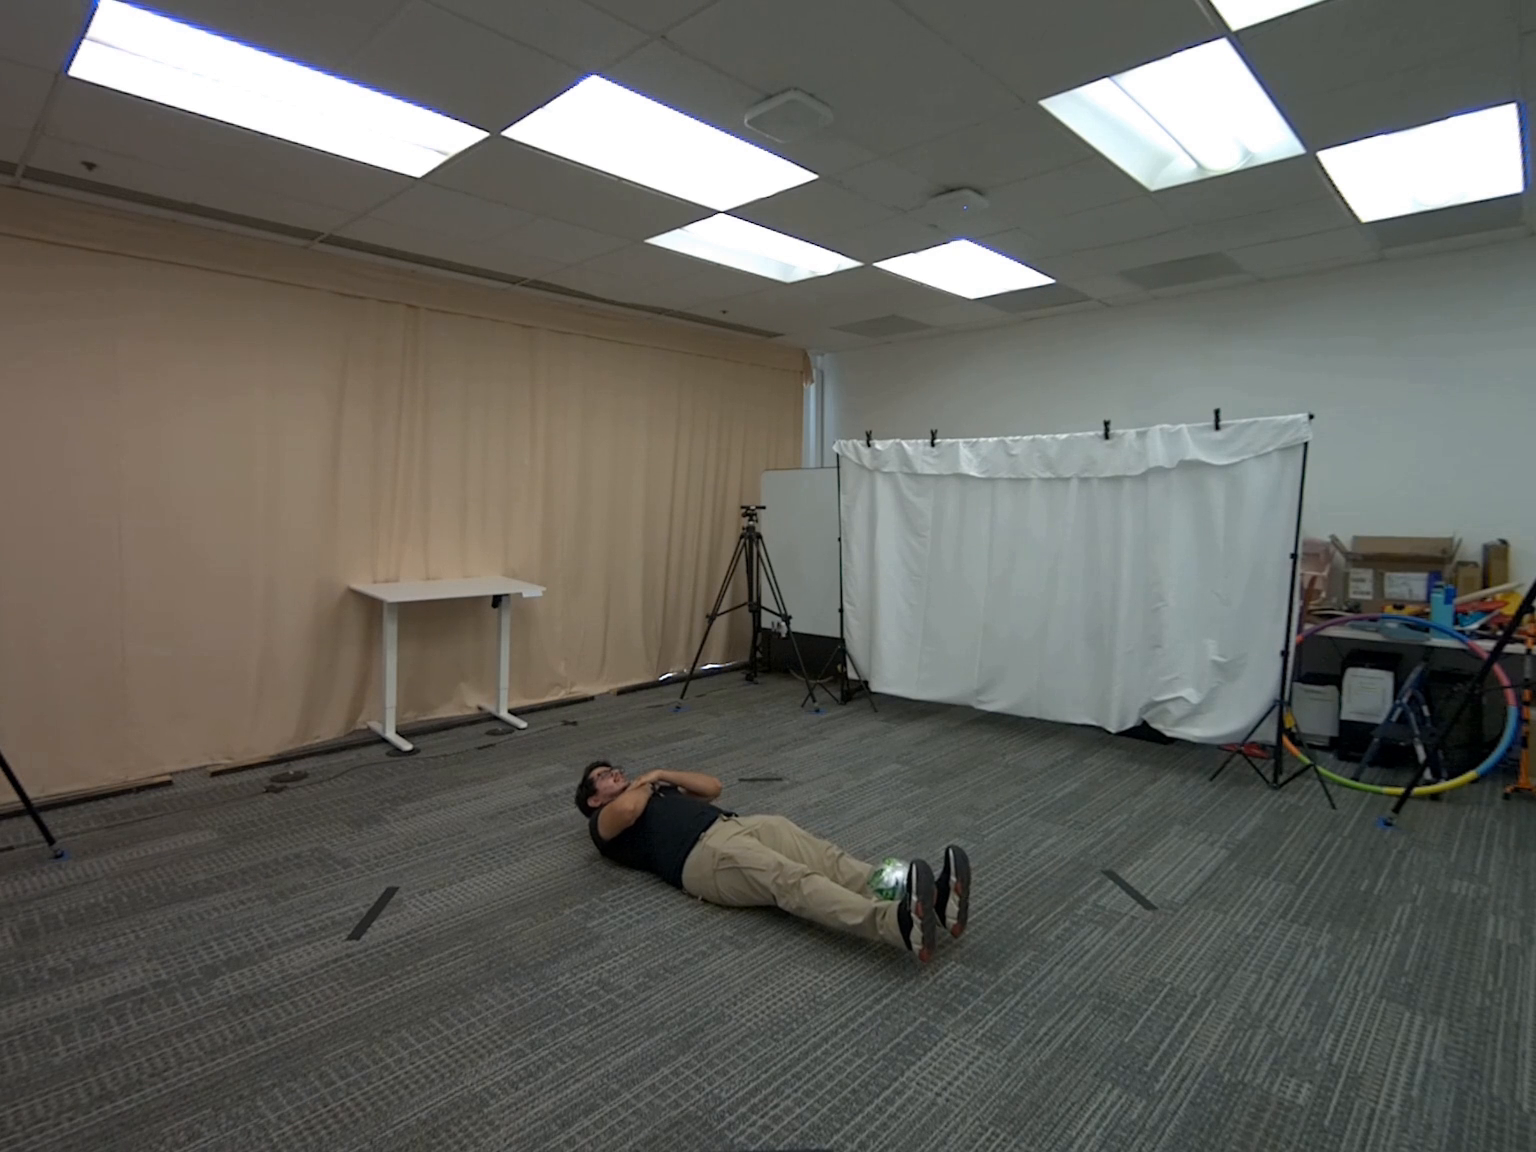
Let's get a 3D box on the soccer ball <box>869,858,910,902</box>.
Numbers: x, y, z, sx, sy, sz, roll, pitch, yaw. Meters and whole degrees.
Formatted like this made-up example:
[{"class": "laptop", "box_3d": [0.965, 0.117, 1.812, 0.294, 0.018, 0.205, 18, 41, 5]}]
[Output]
[{"class": "soccer ball", "box_3d": [0.414, 0.999, 2.651, 0.187, 0.187, 0.188, 0, 4, -2]}]
